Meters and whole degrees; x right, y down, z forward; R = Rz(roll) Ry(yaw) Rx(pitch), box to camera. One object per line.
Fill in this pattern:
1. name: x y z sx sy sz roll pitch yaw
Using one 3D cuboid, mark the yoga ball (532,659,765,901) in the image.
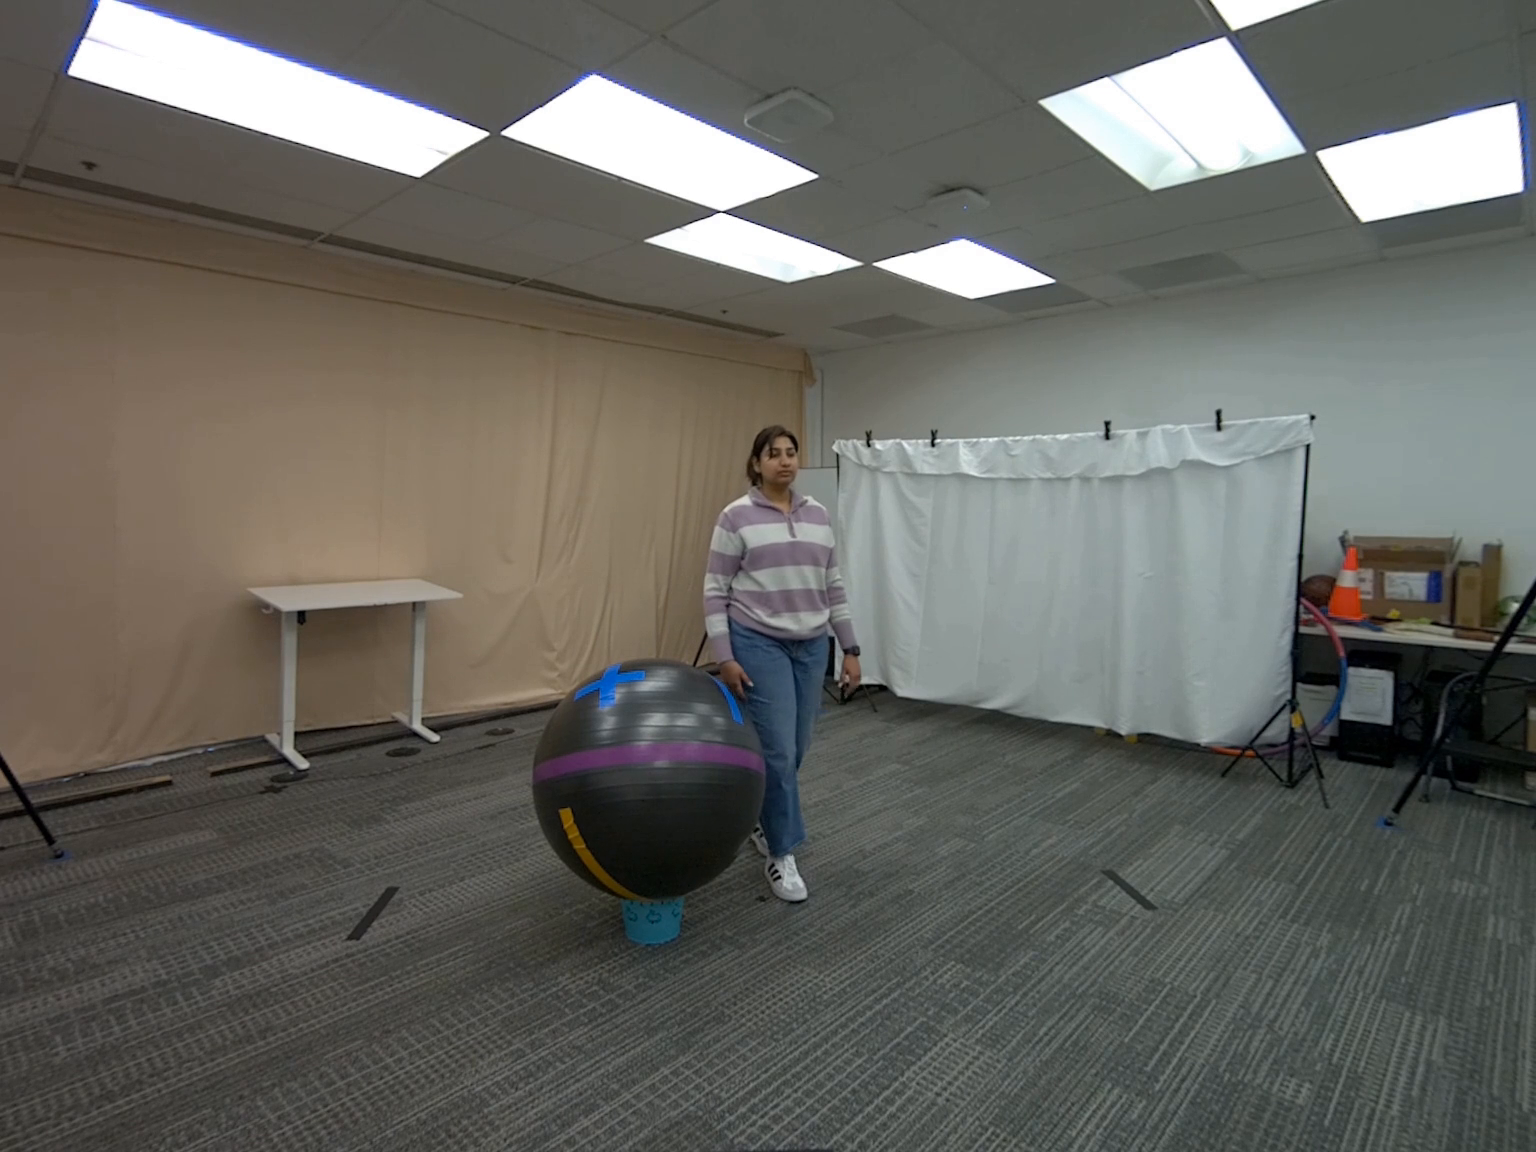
1. yoga ball: -0.398 0.661 2.755 0.757 0.756 0.760 0 4 -2
